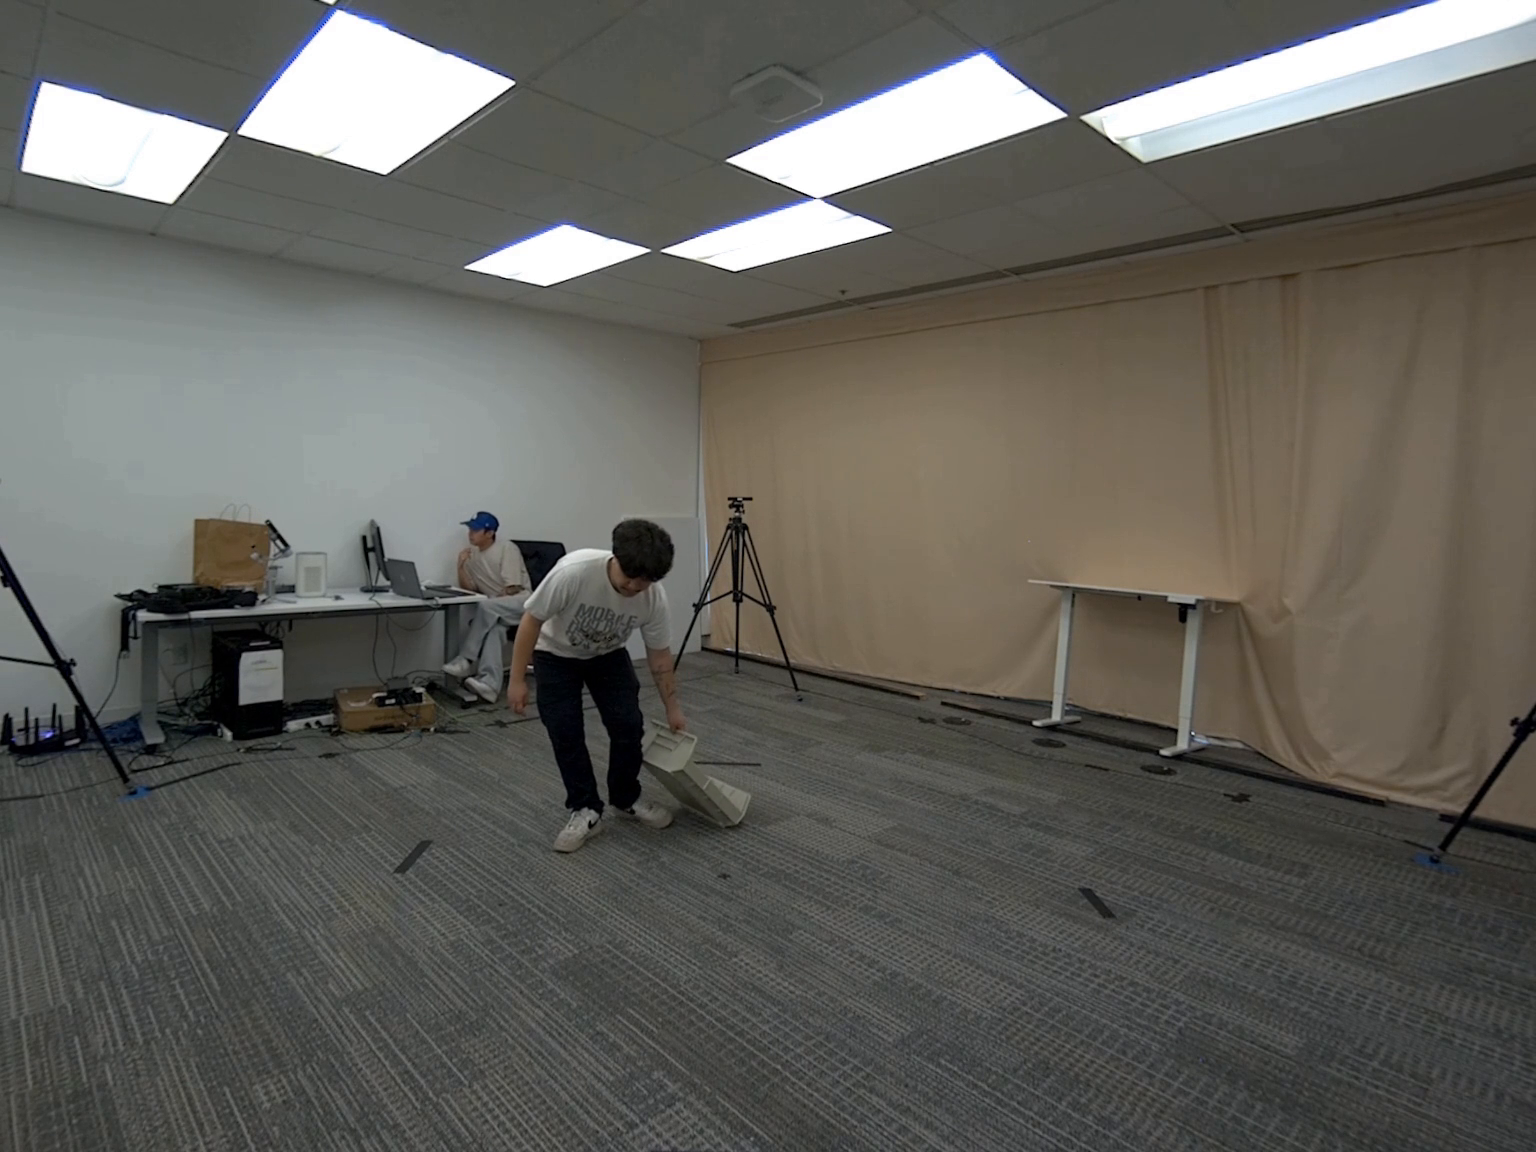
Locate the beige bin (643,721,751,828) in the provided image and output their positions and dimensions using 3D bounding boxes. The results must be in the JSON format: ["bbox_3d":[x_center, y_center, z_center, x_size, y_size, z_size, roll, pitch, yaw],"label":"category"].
[{"bbox_3d":[-0.335,0.852,3.605,0.387,0.189,0.411,5,-40,50],"label":"beige bin"}]
